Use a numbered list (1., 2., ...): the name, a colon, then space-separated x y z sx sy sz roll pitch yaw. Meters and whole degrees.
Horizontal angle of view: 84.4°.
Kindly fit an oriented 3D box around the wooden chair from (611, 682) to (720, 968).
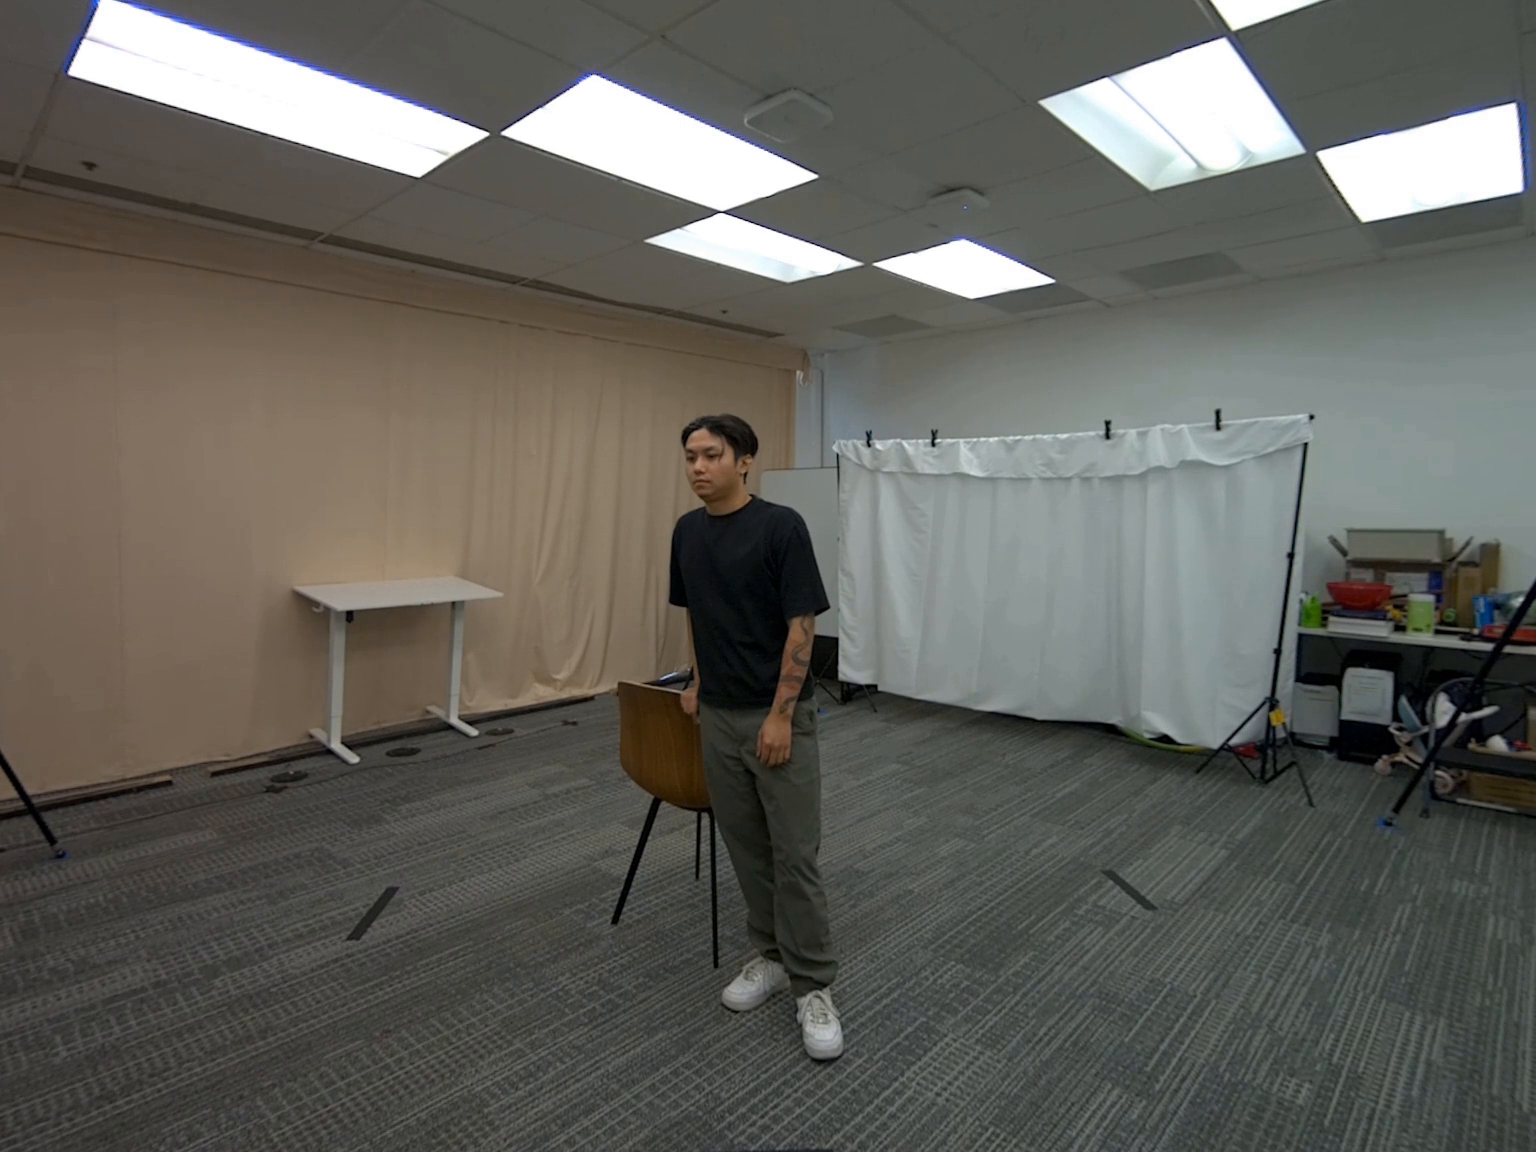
1. wooden chair: -0.211 0.732 2.829 0.493 0.873 0.509 2 8 37
